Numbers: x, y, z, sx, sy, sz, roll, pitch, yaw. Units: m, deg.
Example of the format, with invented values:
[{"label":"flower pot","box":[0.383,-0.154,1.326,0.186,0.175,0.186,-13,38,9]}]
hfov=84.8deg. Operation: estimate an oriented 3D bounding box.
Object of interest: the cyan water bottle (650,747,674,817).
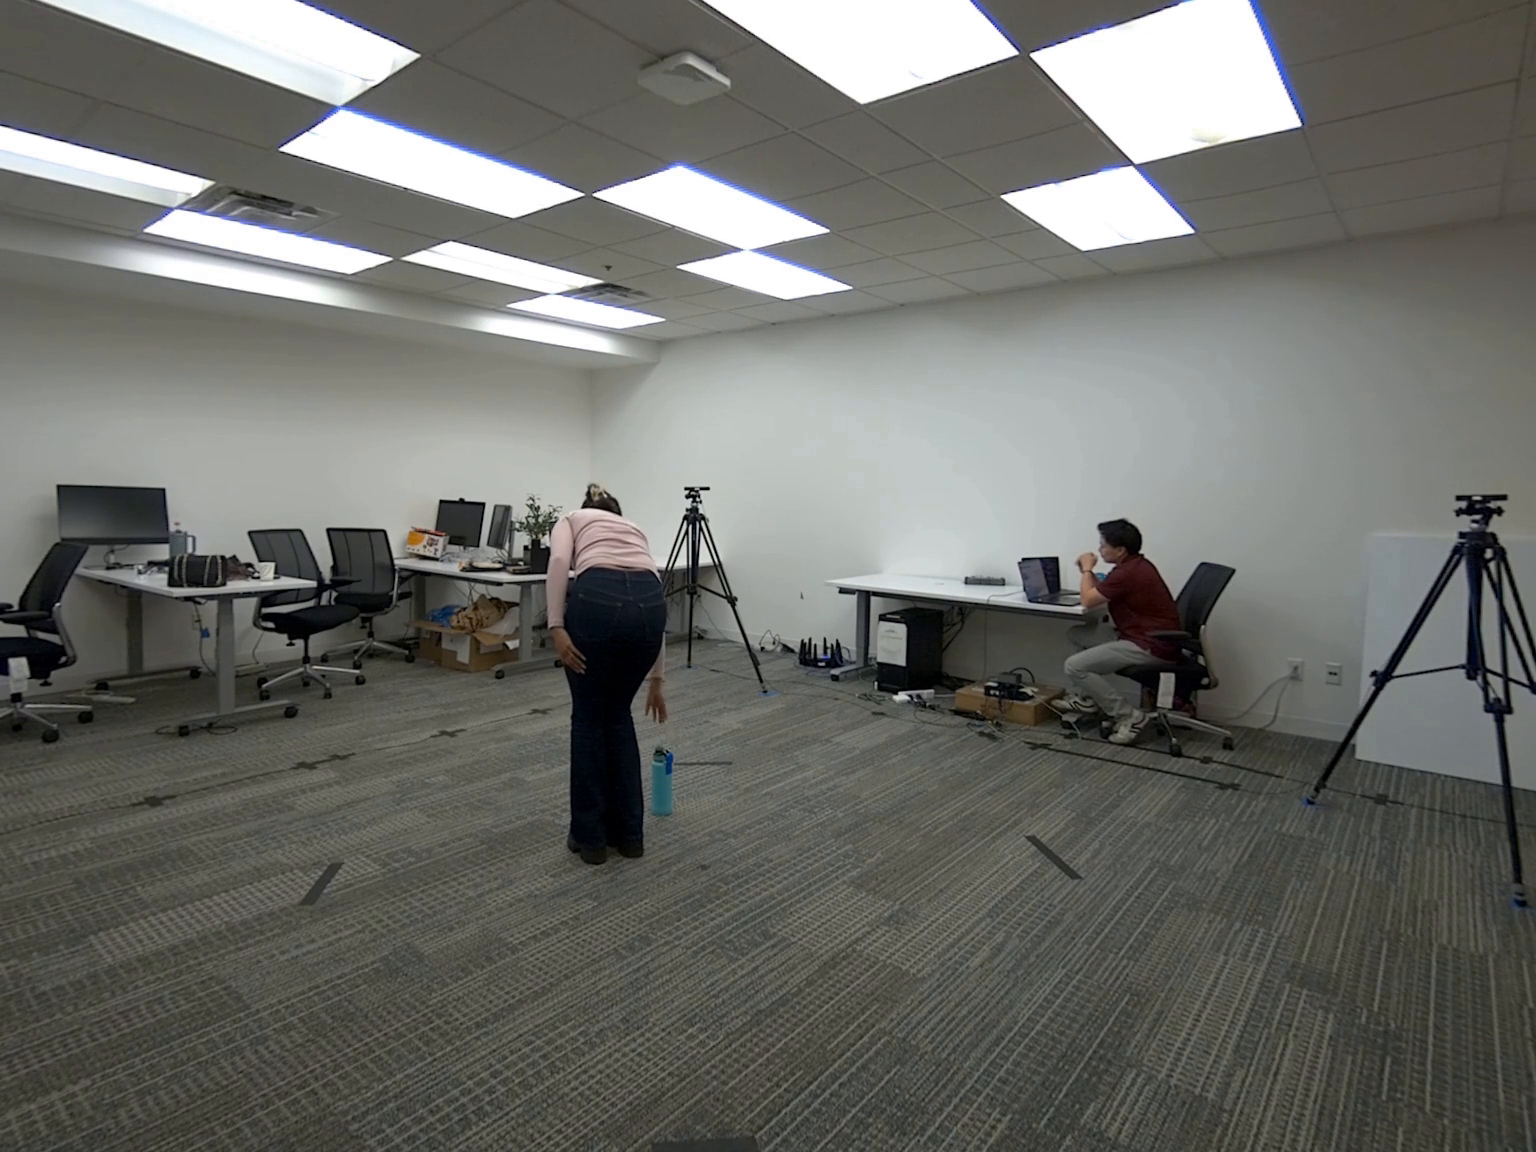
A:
[{"label":"cyan water bottle","box":[-0.466,0.871,3.643,0.092,0.282,0.093,1,3,-2]}]
